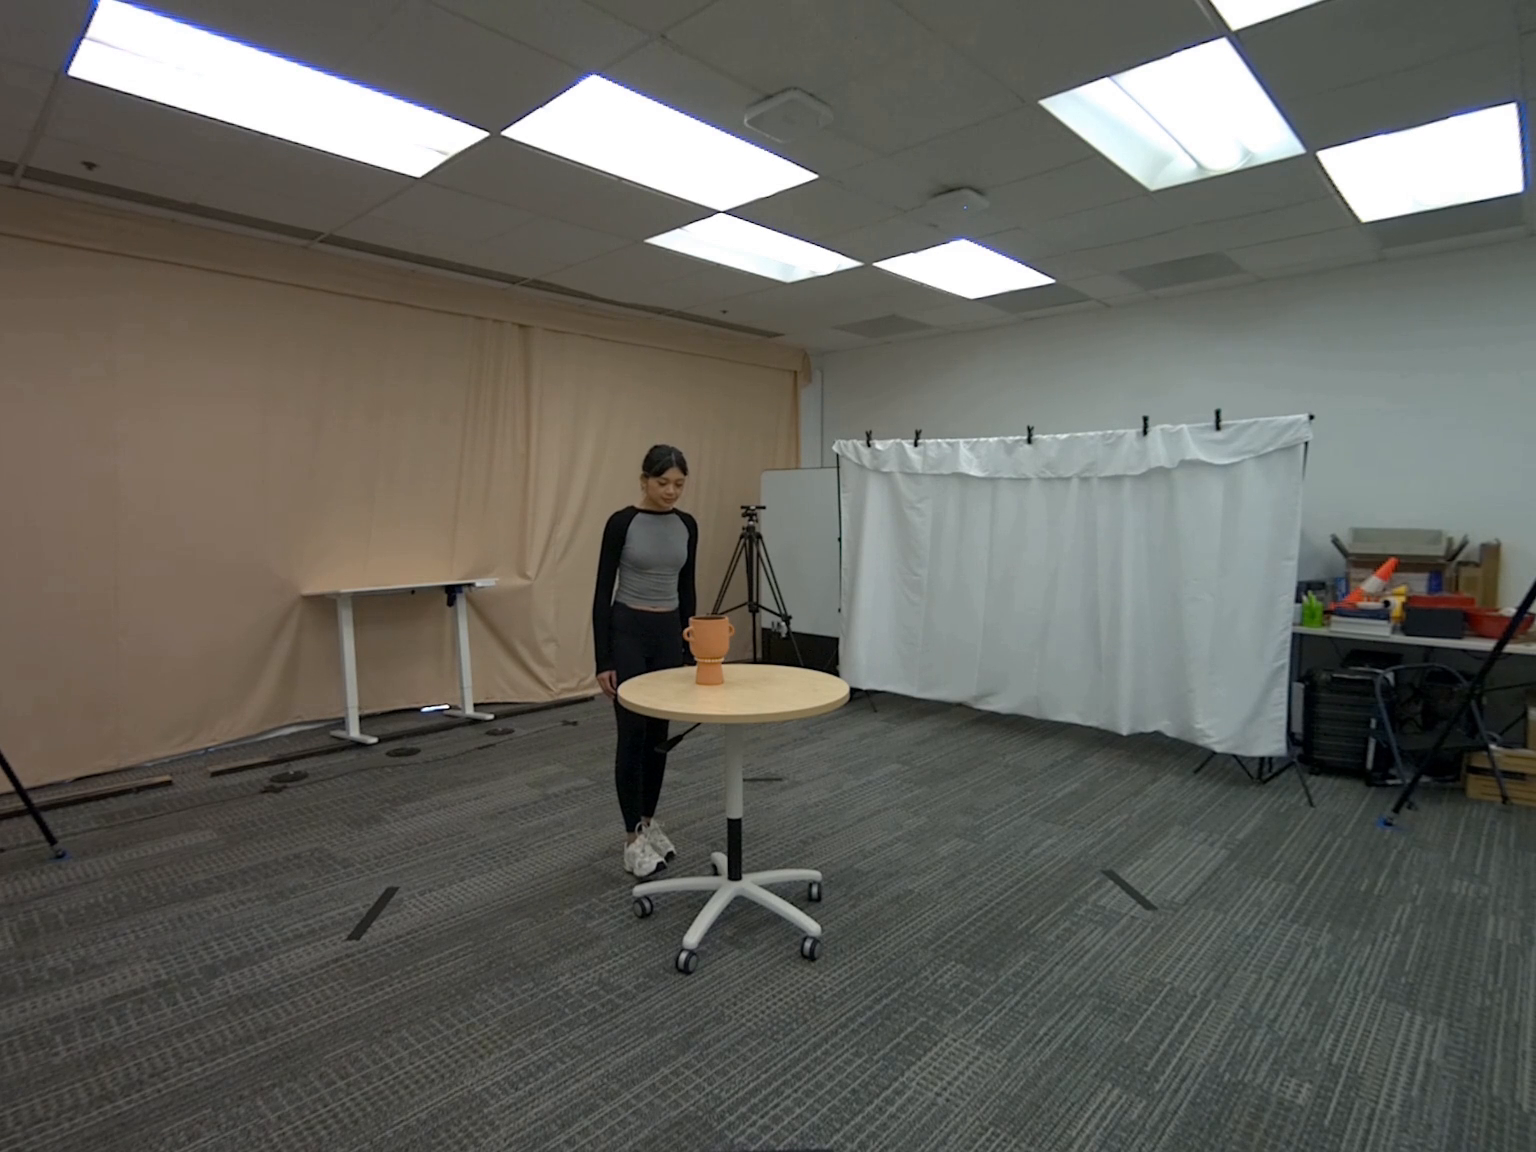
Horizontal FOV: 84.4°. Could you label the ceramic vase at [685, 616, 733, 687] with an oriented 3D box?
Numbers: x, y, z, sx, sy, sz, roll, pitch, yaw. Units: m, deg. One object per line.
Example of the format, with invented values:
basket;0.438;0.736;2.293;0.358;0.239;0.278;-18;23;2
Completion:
ceramic vase;-0.197;0.255;2.851;0.160;0.219;0.134;0;4;5
